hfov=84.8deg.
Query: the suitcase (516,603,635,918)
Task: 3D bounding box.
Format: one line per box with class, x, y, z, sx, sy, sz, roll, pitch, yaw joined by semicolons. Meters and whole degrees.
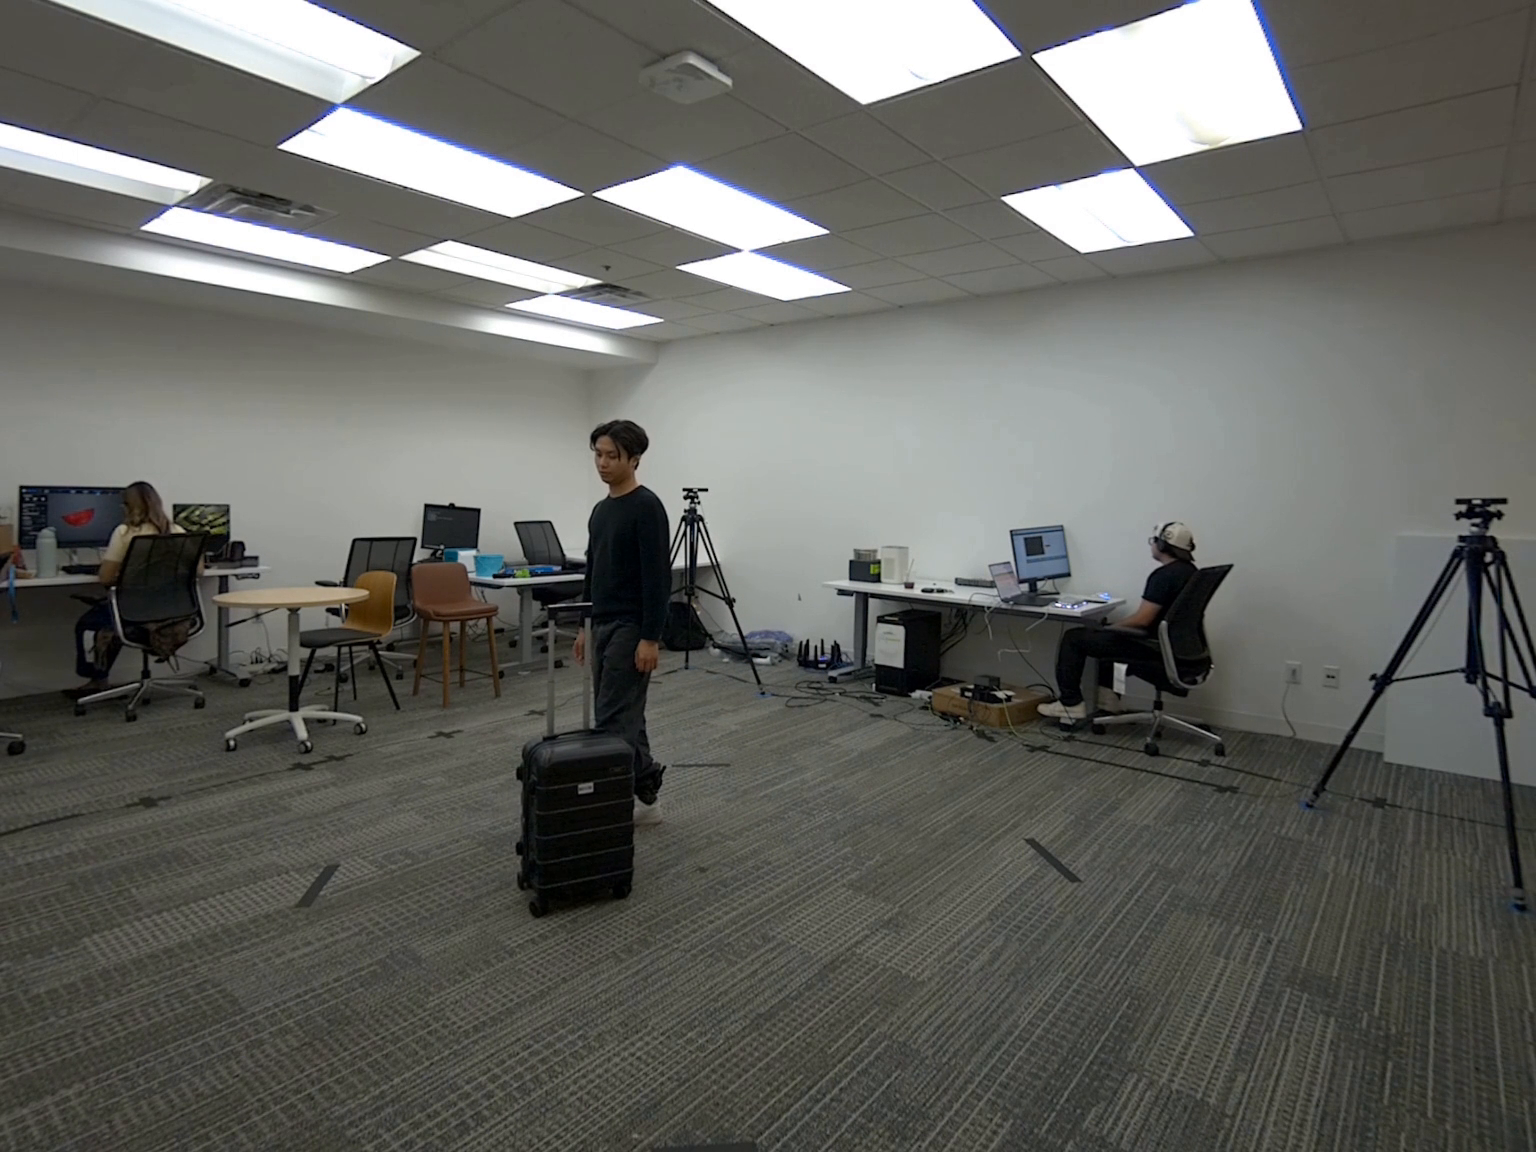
suitcase;-0.659;0.608;2.870;0.375;0.974;0.264;-2;6;-25
